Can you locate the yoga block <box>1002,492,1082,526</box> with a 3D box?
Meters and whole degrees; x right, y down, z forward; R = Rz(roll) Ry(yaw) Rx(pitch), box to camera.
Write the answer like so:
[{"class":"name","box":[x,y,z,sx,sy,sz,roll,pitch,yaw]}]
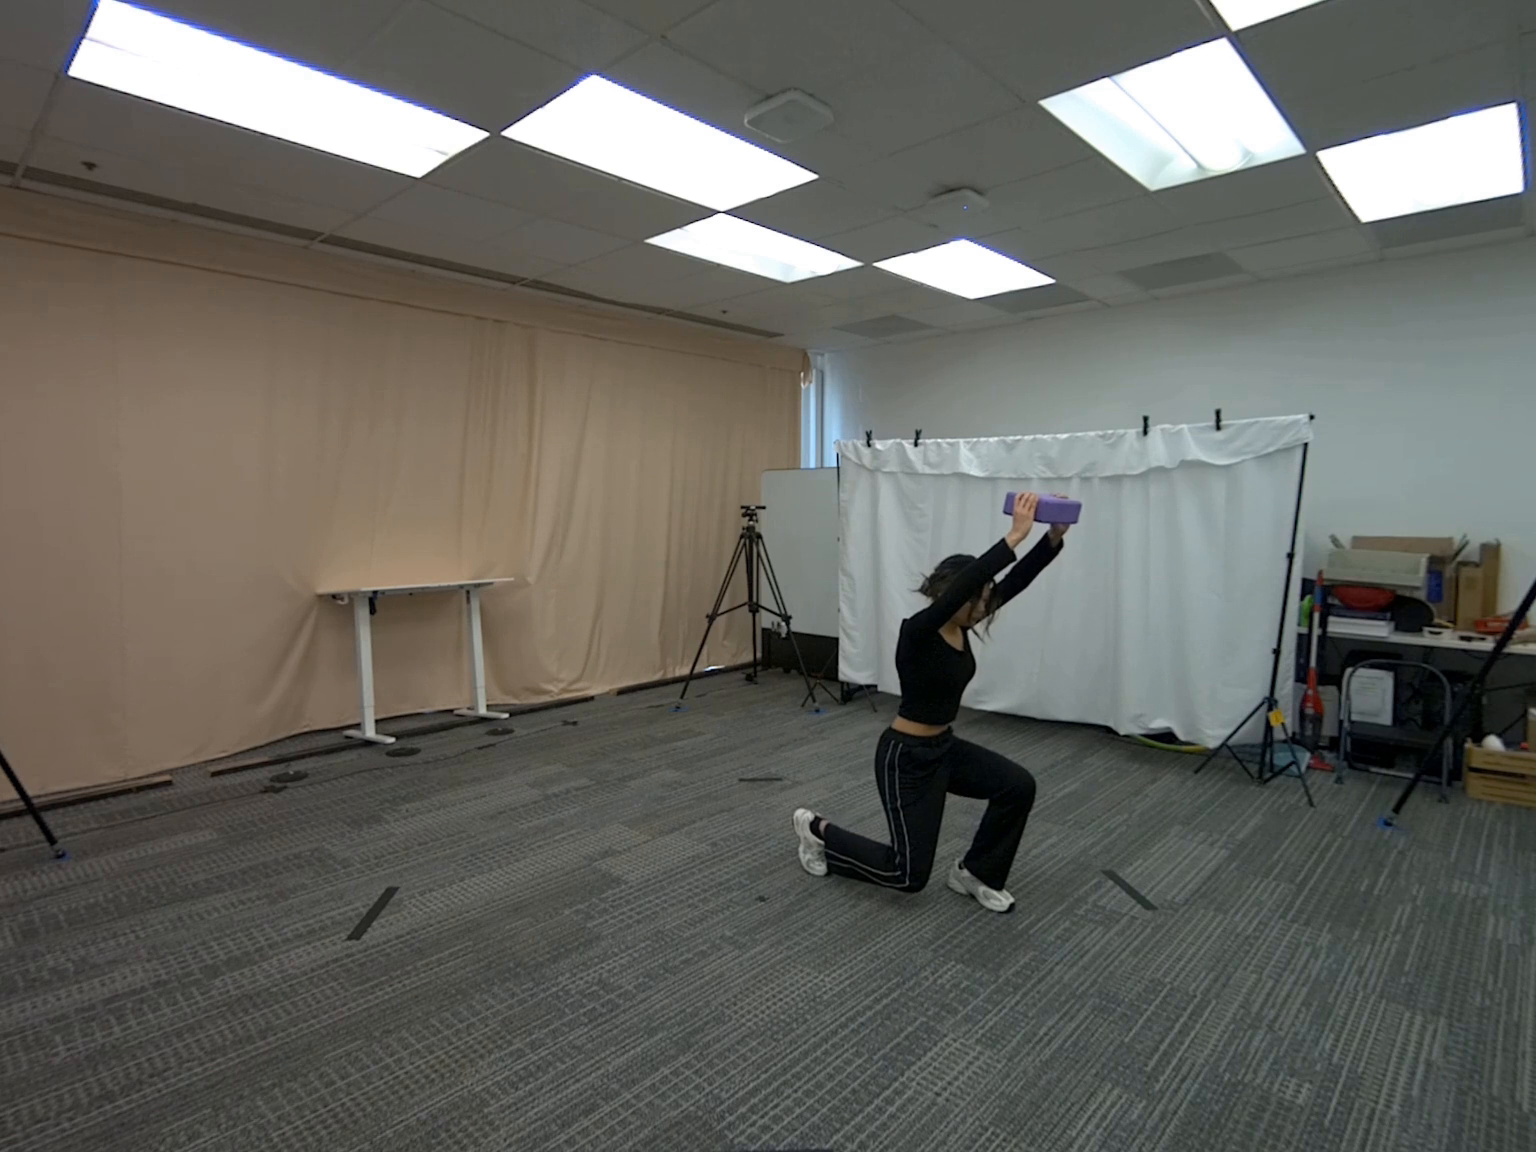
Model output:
[{"class":"yoga block","box":[0.899,-0.221,2.720,0.222,0.076,0.154,-1,15,-39]}]
